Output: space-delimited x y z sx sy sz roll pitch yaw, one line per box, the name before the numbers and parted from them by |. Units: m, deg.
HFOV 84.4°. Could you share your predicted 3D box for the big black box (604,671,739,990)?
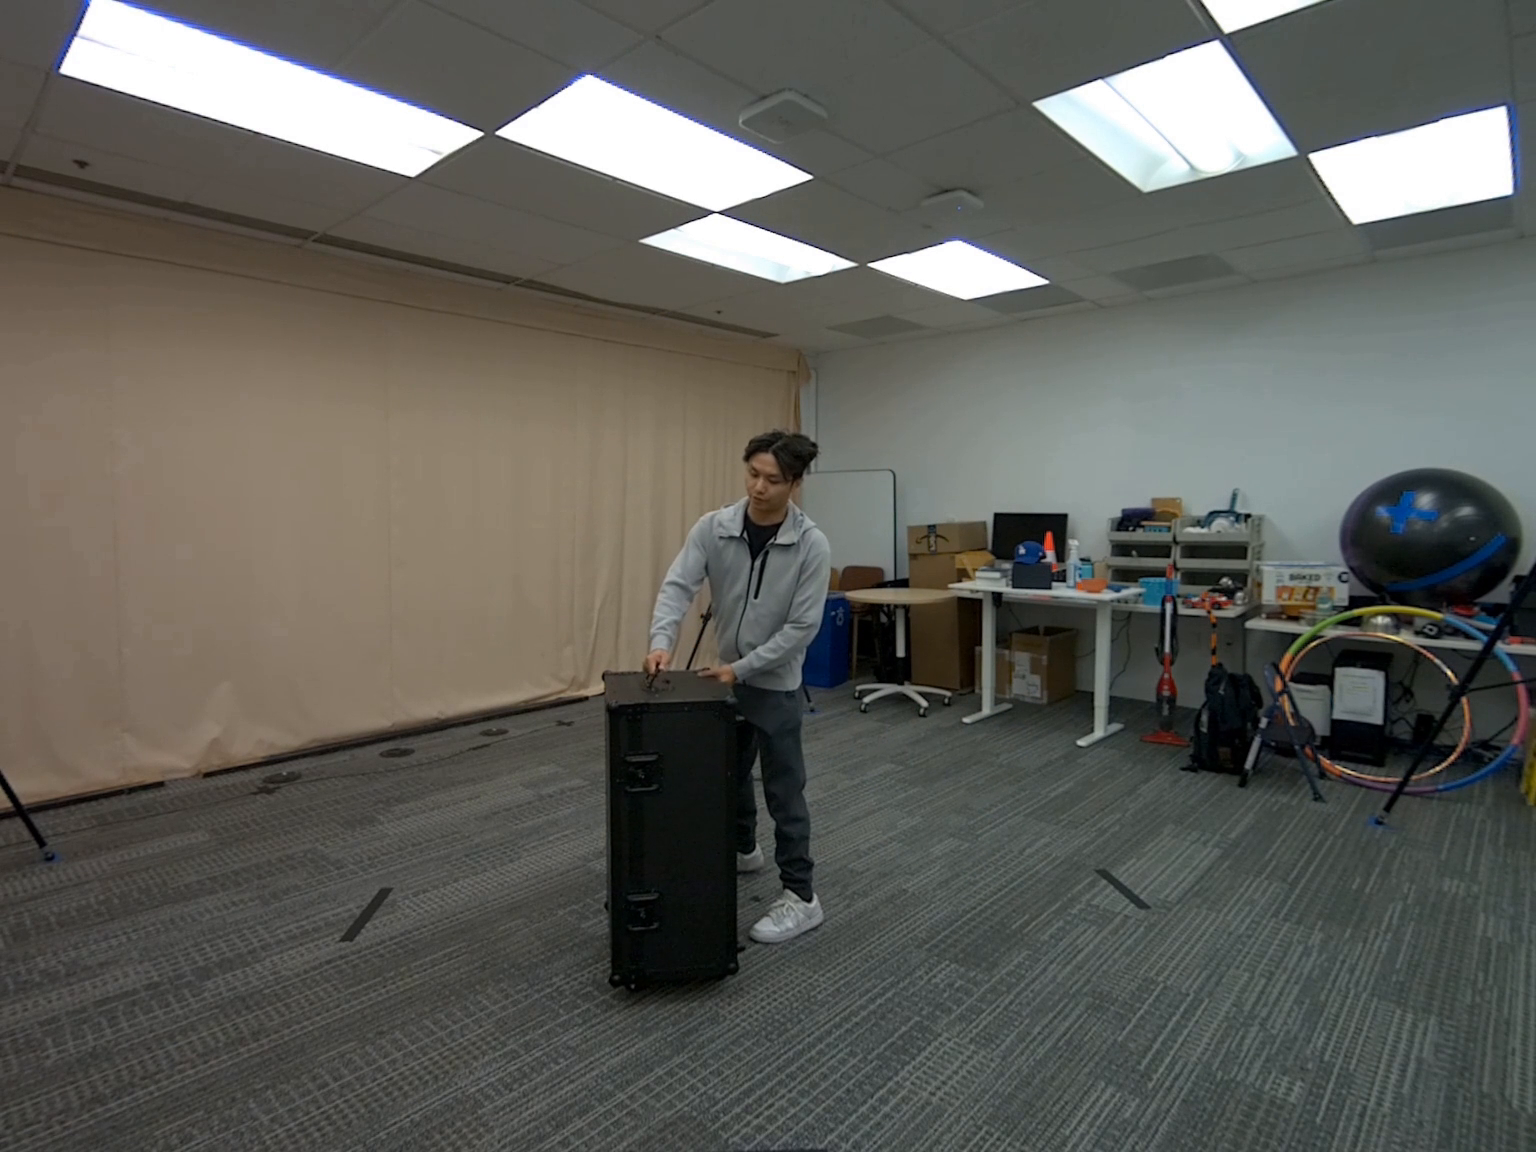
big black box | -0.303 0.753 2.564 0.391 0.861 0.528 -1 1 -13
